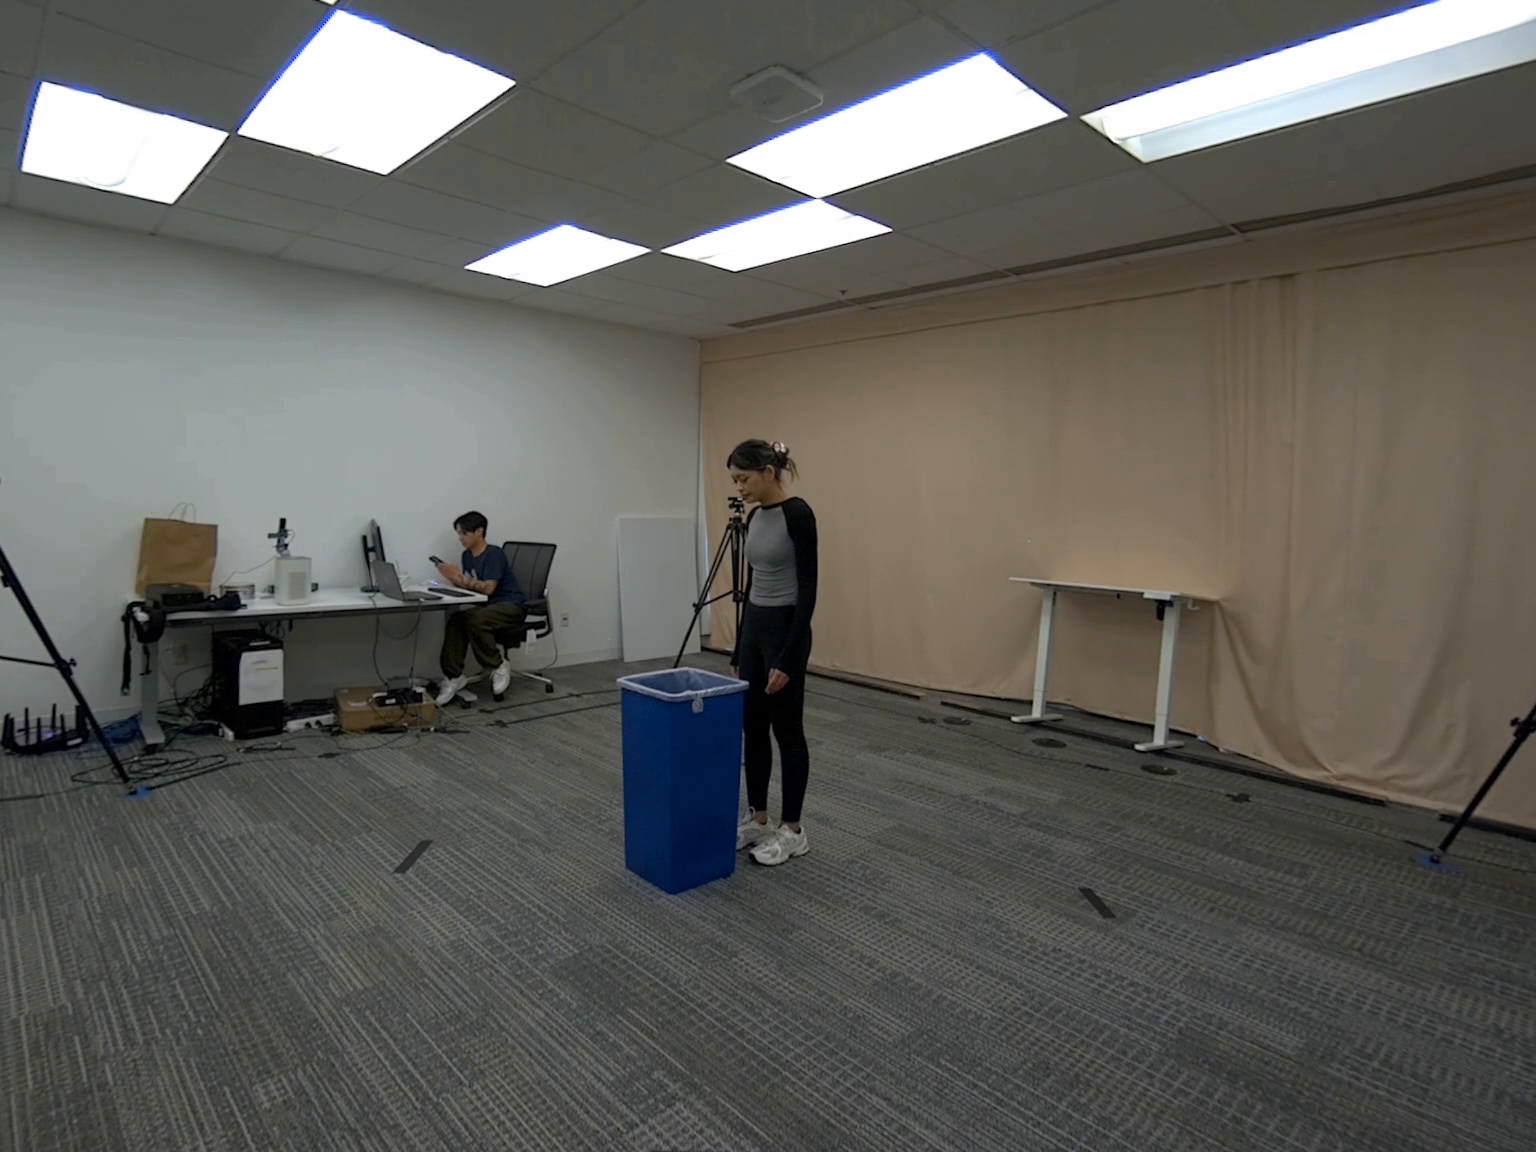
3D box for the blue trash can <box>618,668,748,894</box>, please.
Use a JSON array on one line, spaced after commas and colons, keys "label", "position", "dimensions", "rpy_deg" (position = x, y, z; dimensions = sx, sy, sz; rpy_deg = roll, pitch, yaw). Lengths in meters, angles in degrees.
[{"label": "blue trash can", "position": [-0.338, 0.744, 3.133], "dimensions": [0.369, 0.712, 0.383], "rpy_deg": [-1, 5, -42]}]
